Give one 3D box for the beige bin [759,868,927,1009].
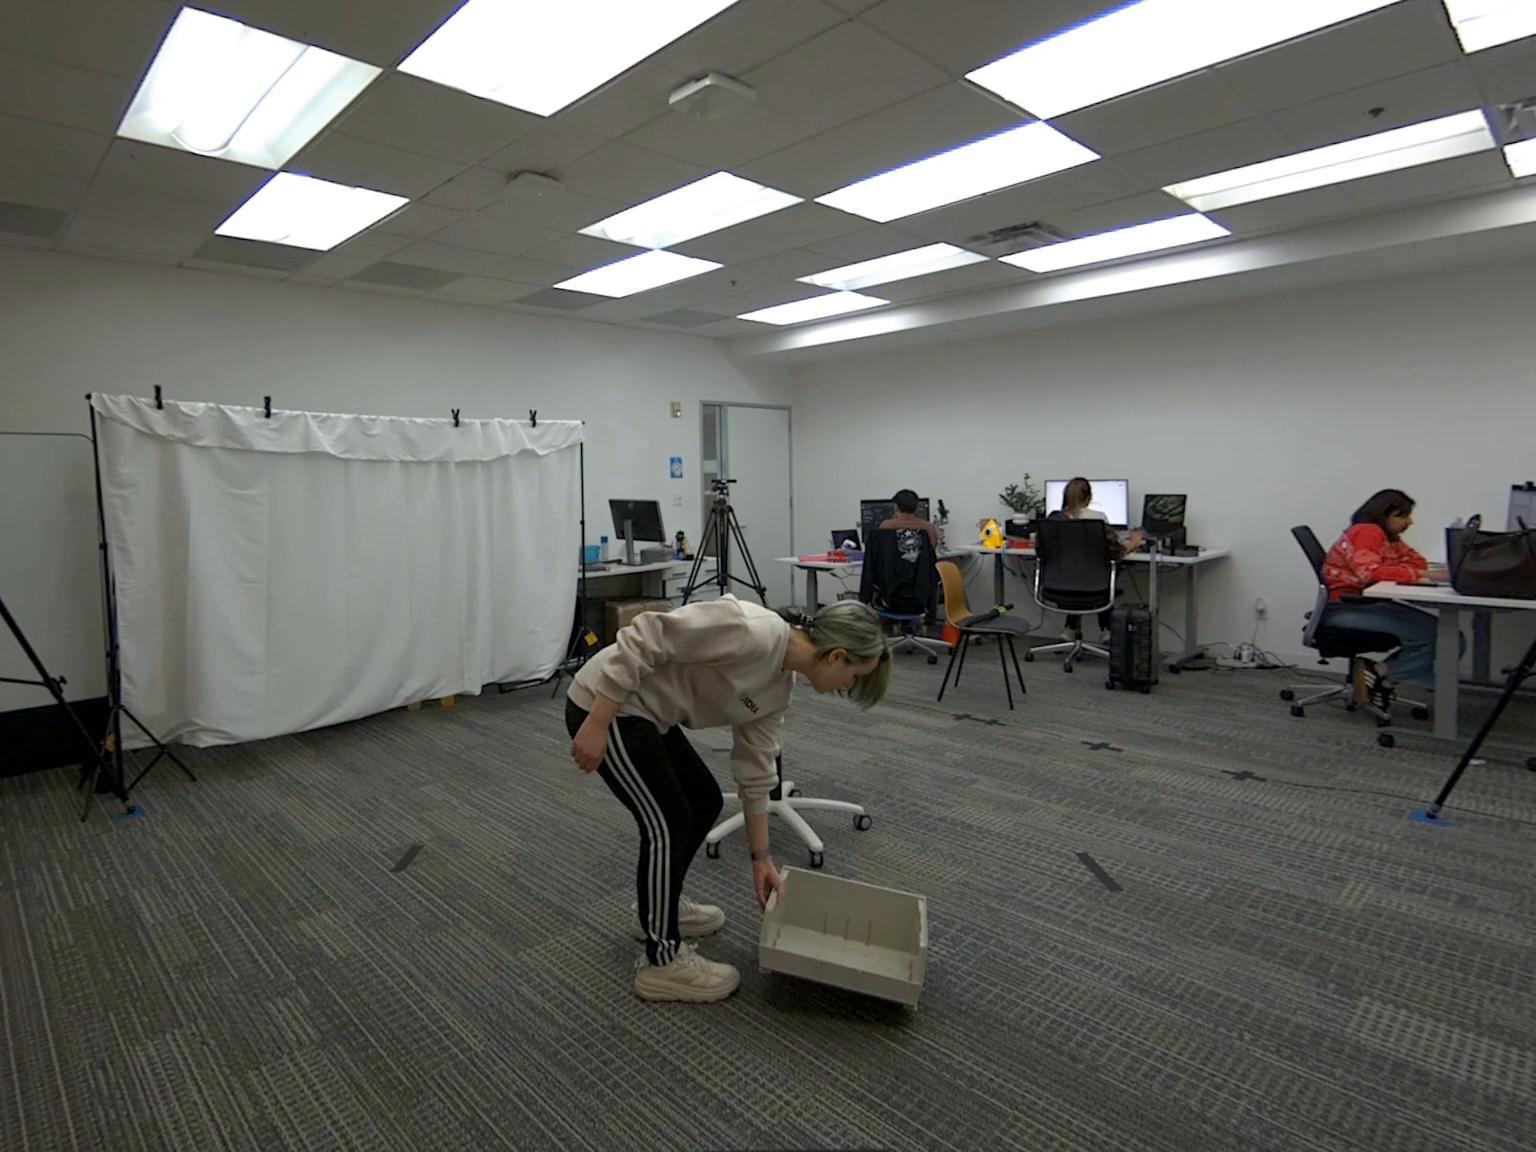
[{"bbox_3d":[0.216,0.992,2.348,0.428,0.189,0.372,8,-1,11],"label":"beige bin"}]
